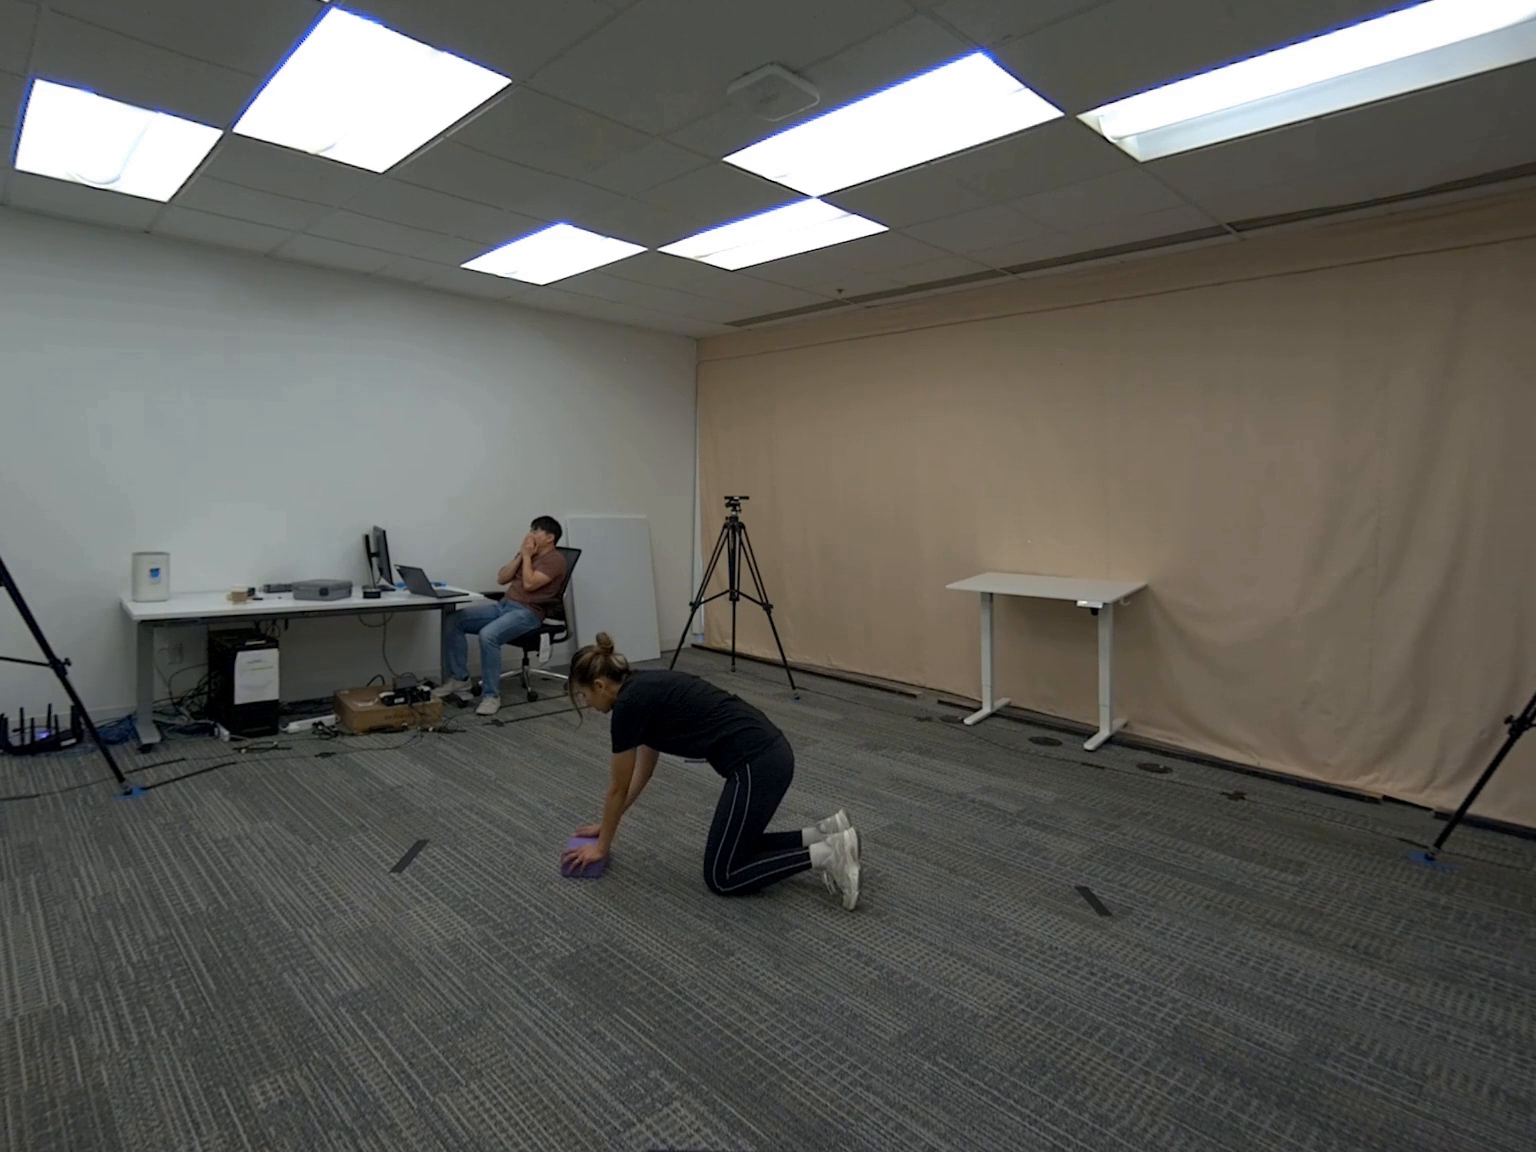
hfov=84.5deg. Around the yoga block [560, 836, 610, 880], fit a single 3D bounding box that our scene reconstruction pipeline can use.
[{"bbox_3d":[-0.685,1.040,3.167,0.149,0.076,0.230,1,7,-1],"label":"yoga block"}]
